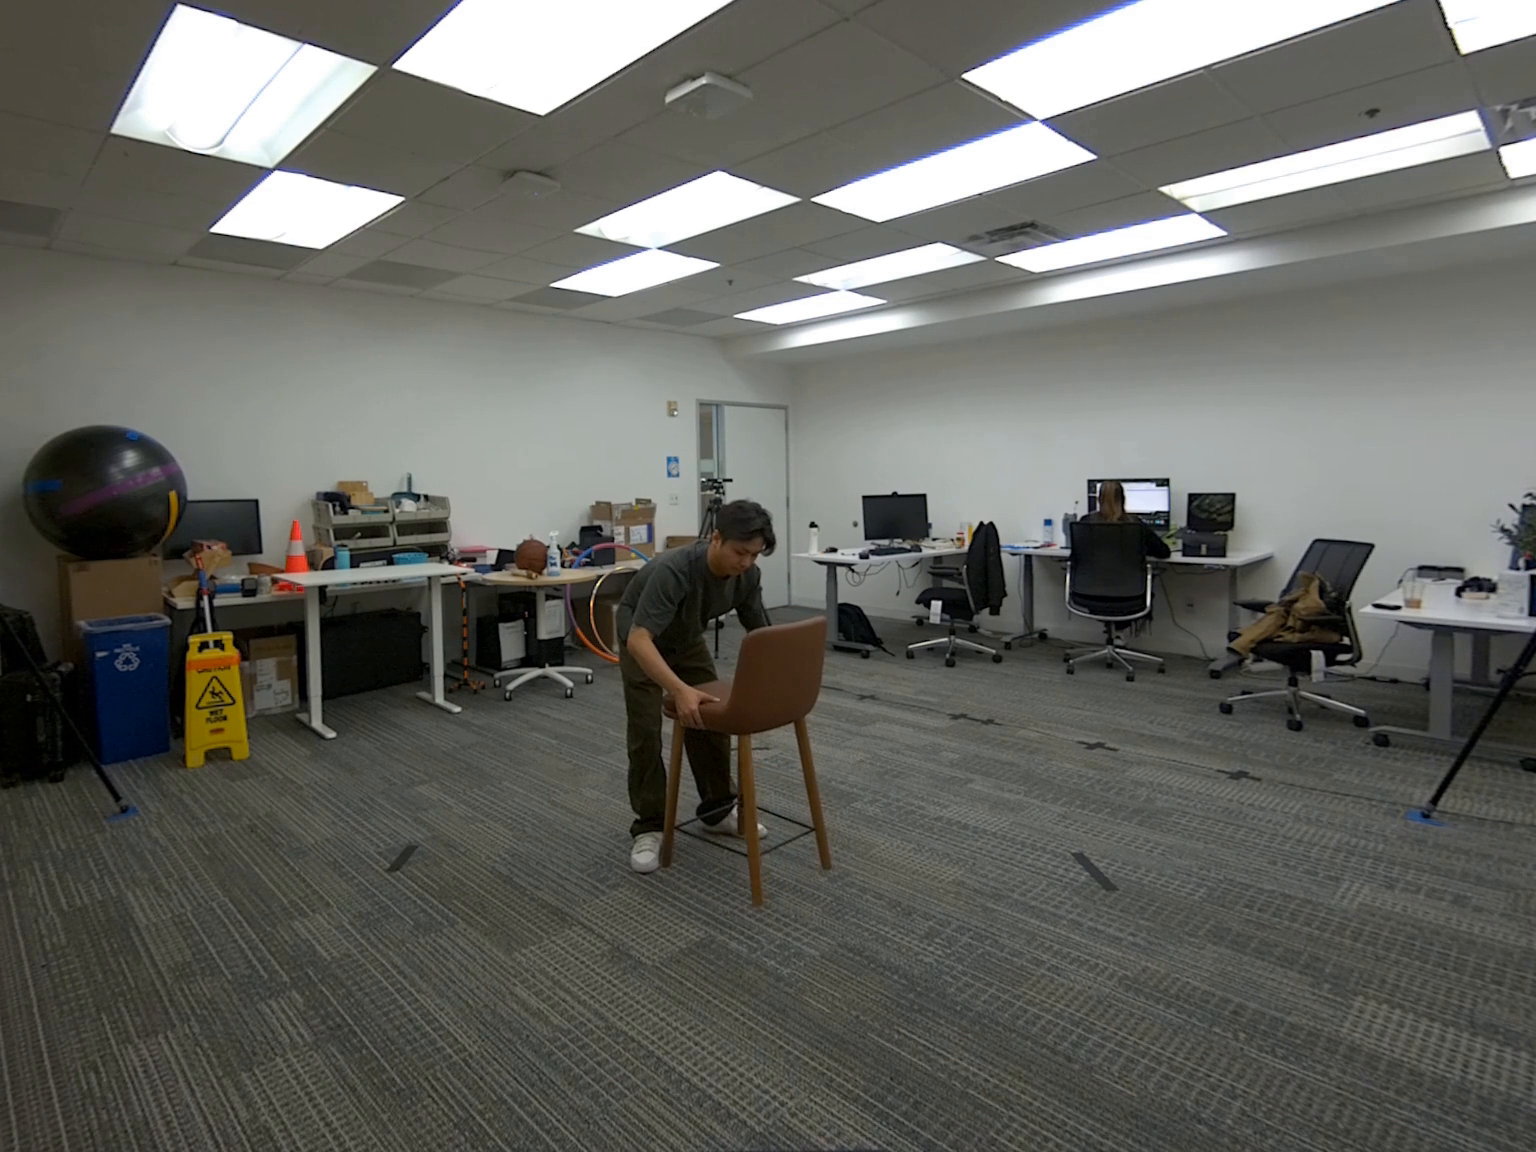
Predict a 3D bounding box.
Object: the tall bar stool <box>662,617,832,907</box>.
[{"bbox_3d":[-0.074,0.573,2.919,0.482,0.886,0.444,4,7,44],"label":"tall bar stool"}]
